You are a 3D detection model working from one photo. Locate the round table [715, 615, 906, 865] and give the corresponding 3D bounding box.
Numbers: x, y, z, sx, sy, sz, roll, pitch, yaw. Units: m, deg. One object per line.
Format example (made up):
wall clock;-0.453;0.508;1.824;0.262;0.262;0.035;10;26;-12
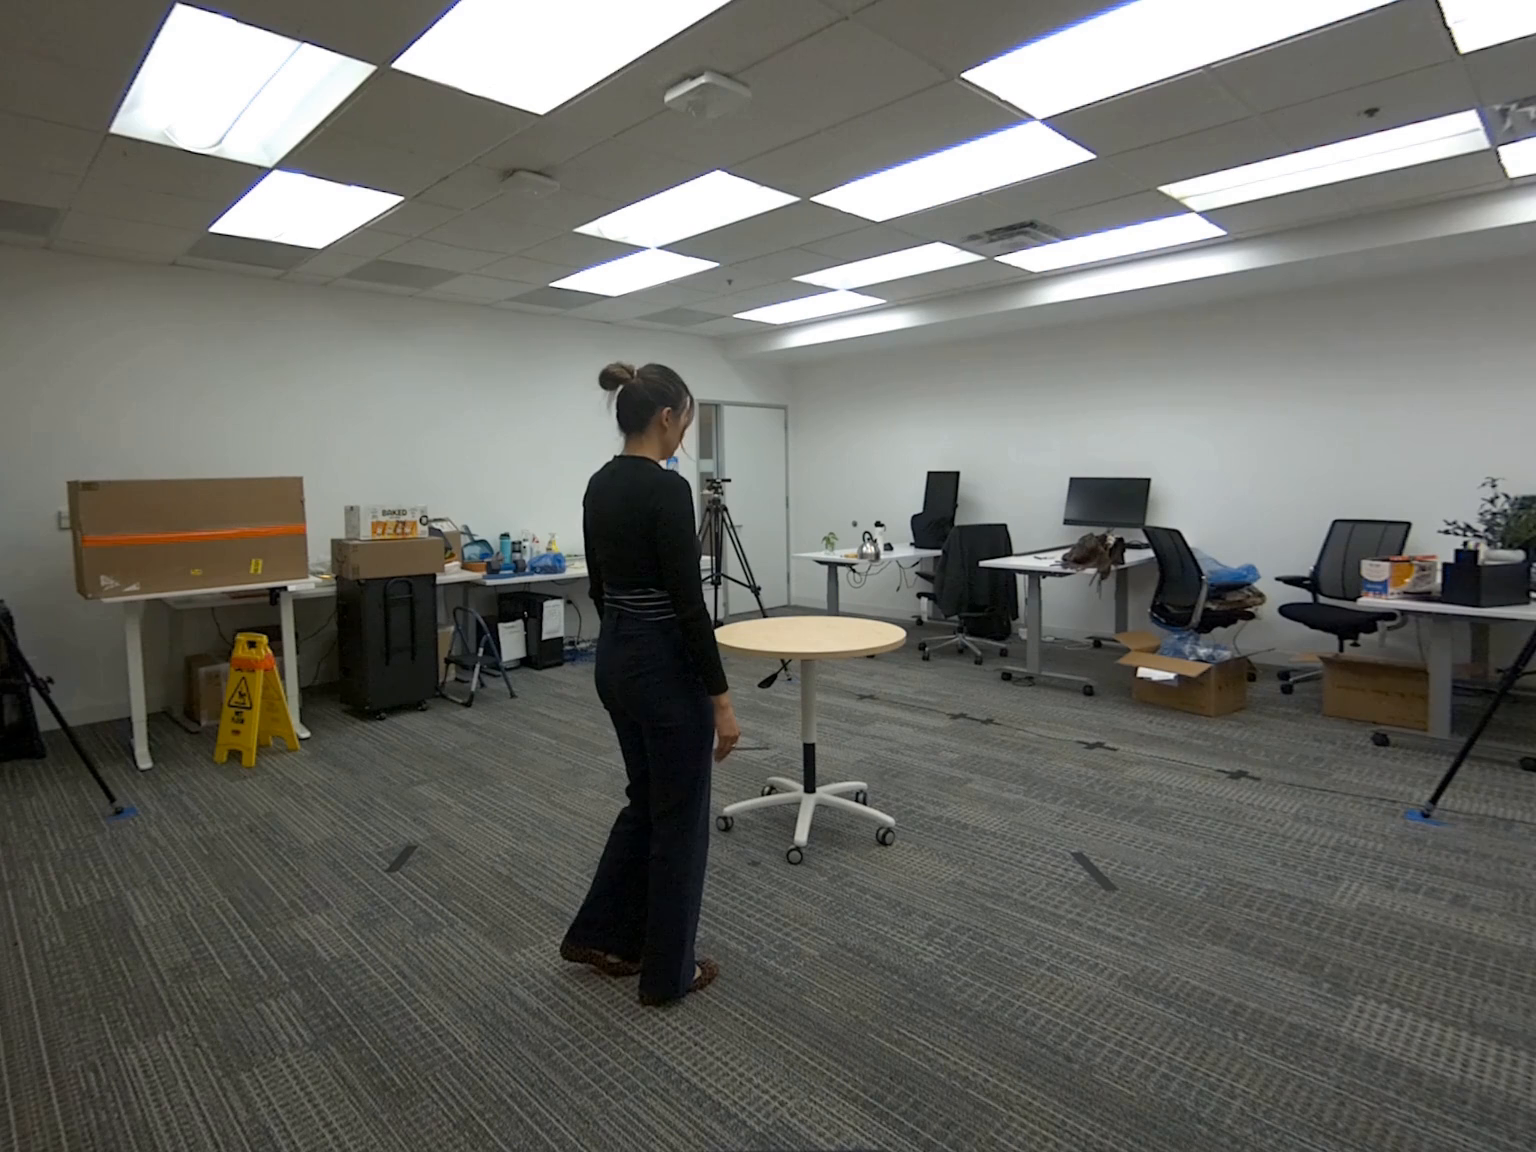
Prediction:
round table;0.166;0.617;3.410;0.763;0.791;0.768;-1;5;-2
